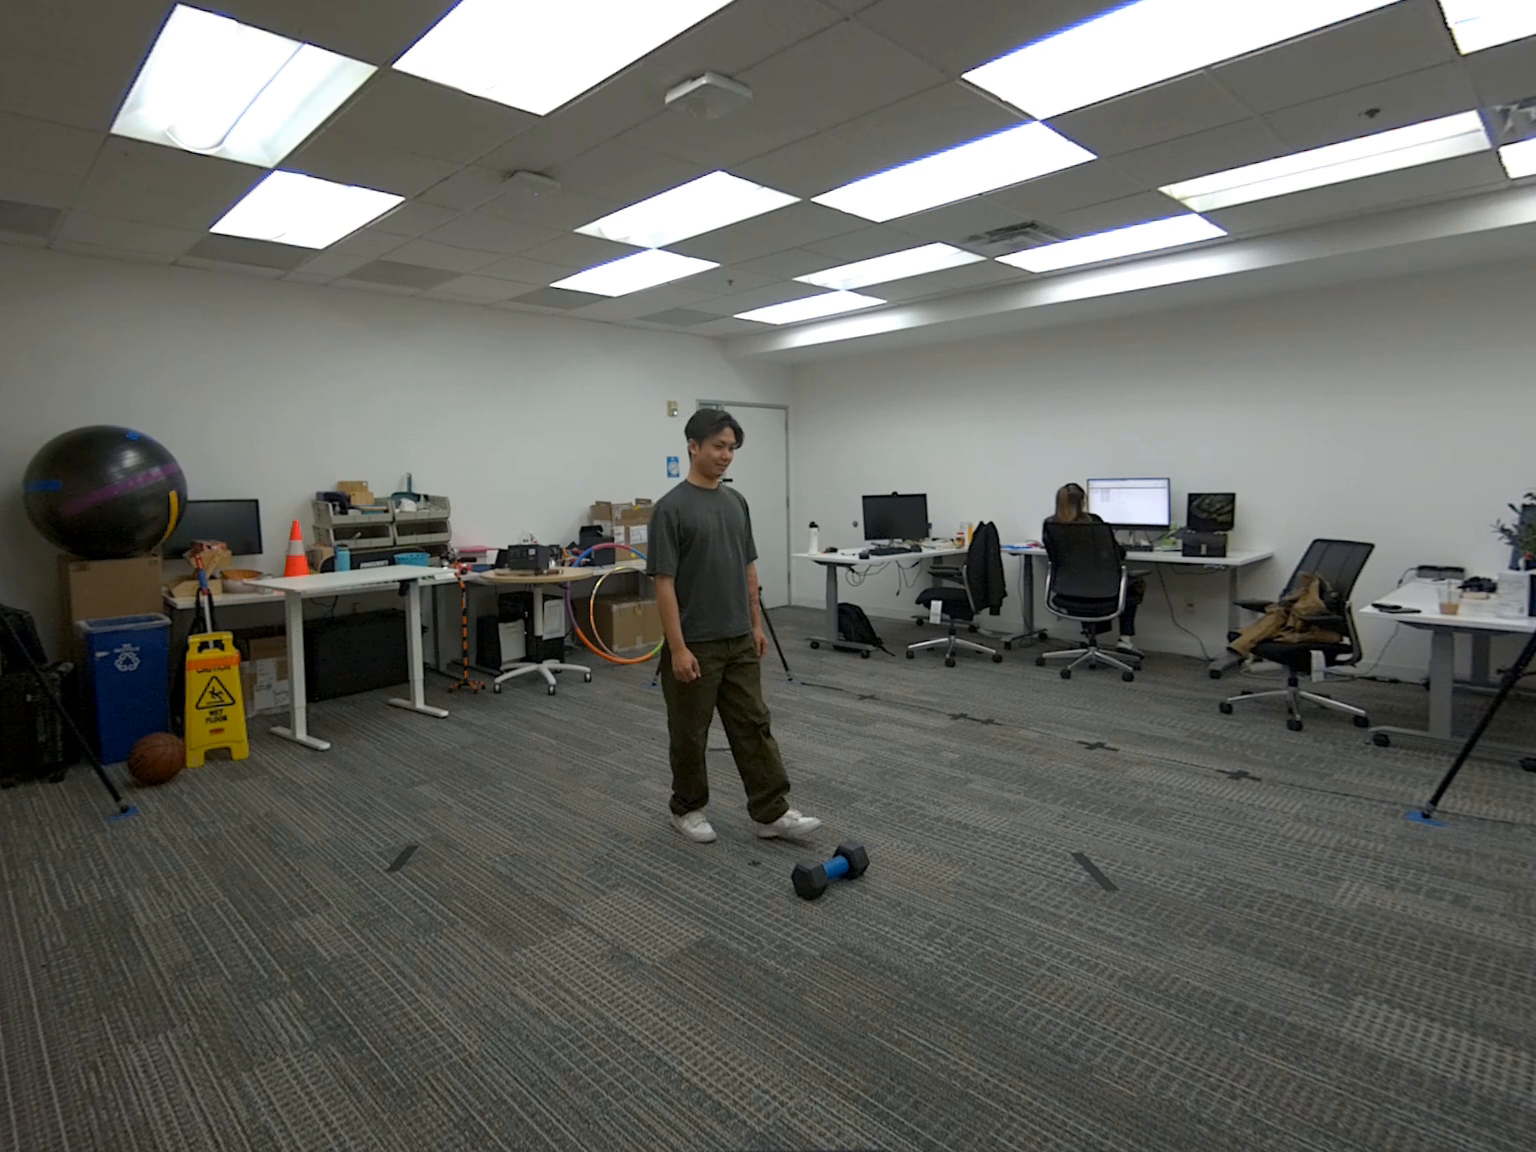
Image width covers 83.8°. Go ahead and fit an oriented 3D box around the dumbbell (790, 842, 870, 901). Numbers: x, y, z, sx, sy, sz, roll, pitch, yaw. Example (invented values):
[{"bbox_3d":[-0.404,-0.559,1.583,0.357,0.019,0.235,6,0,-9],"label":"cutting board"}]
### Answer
[{"bbox_3d":[0.220,1.006,2.928,0.286,0.121,0.113,-6,38,-42],"label":"dumbbell"}]
